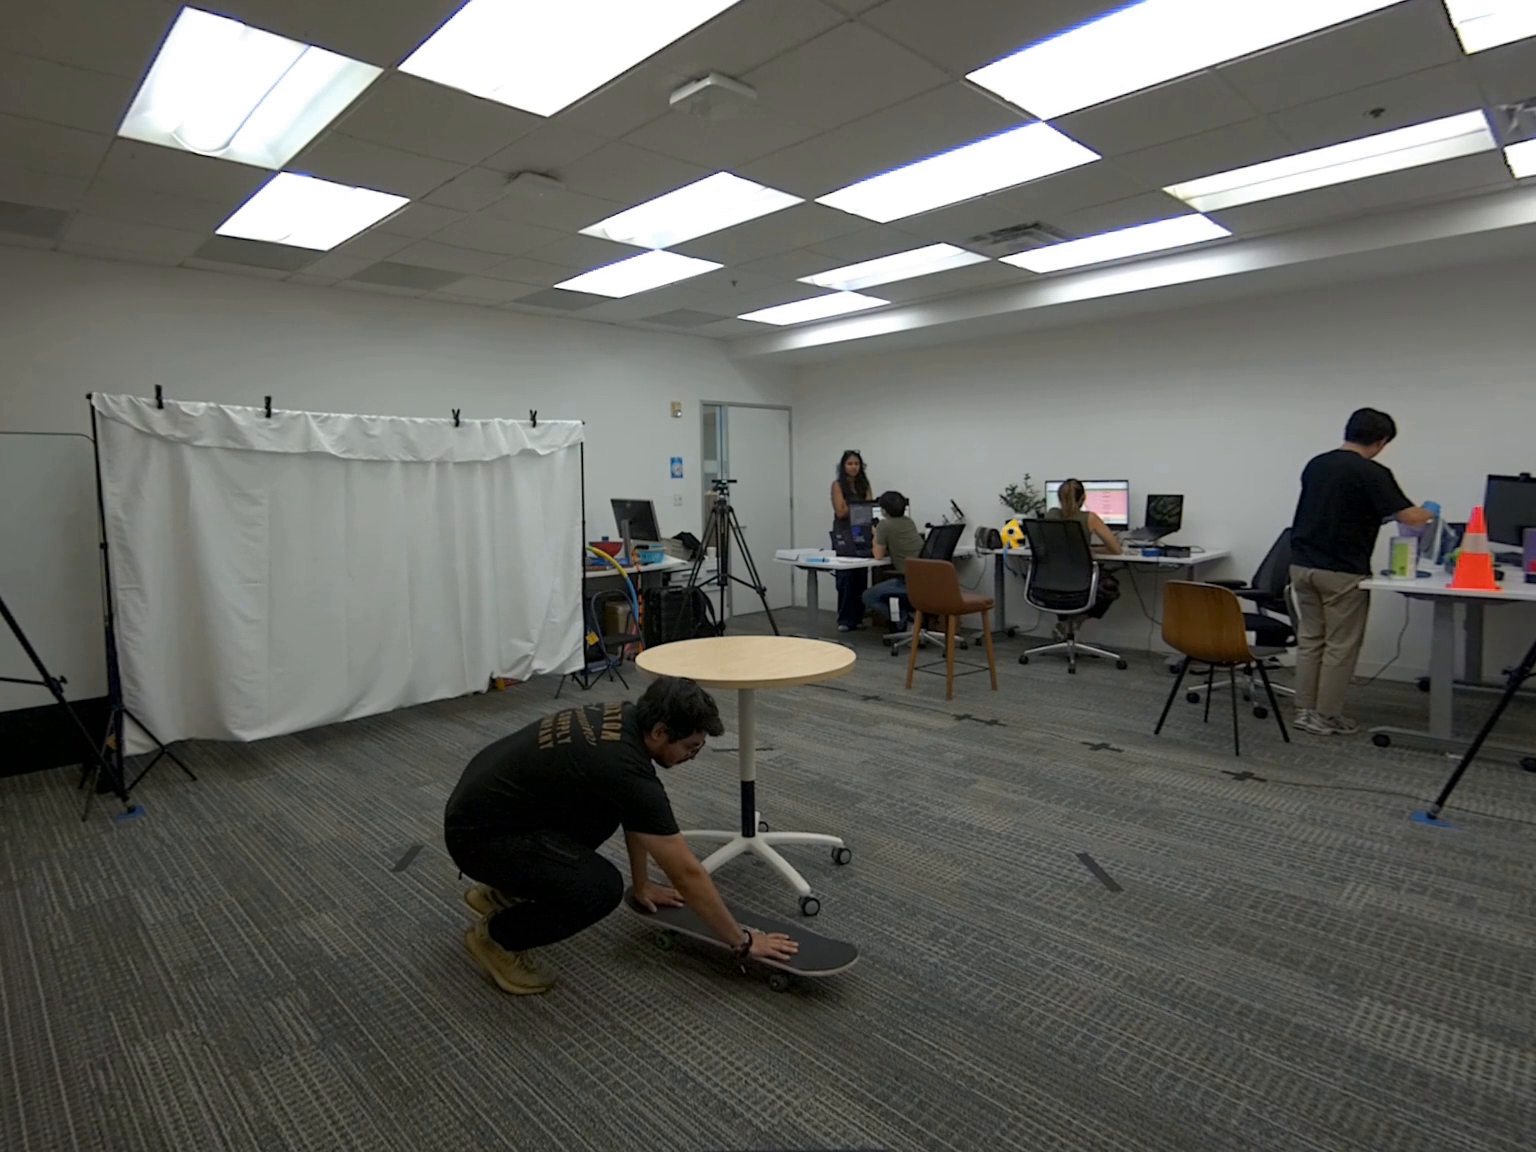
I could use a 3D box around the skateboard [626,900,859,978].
[{"bbox_3d":[-0.097,1.057,2.514,0.807,0.110,0.189,3,7,34],"label":"skateboard"}]
